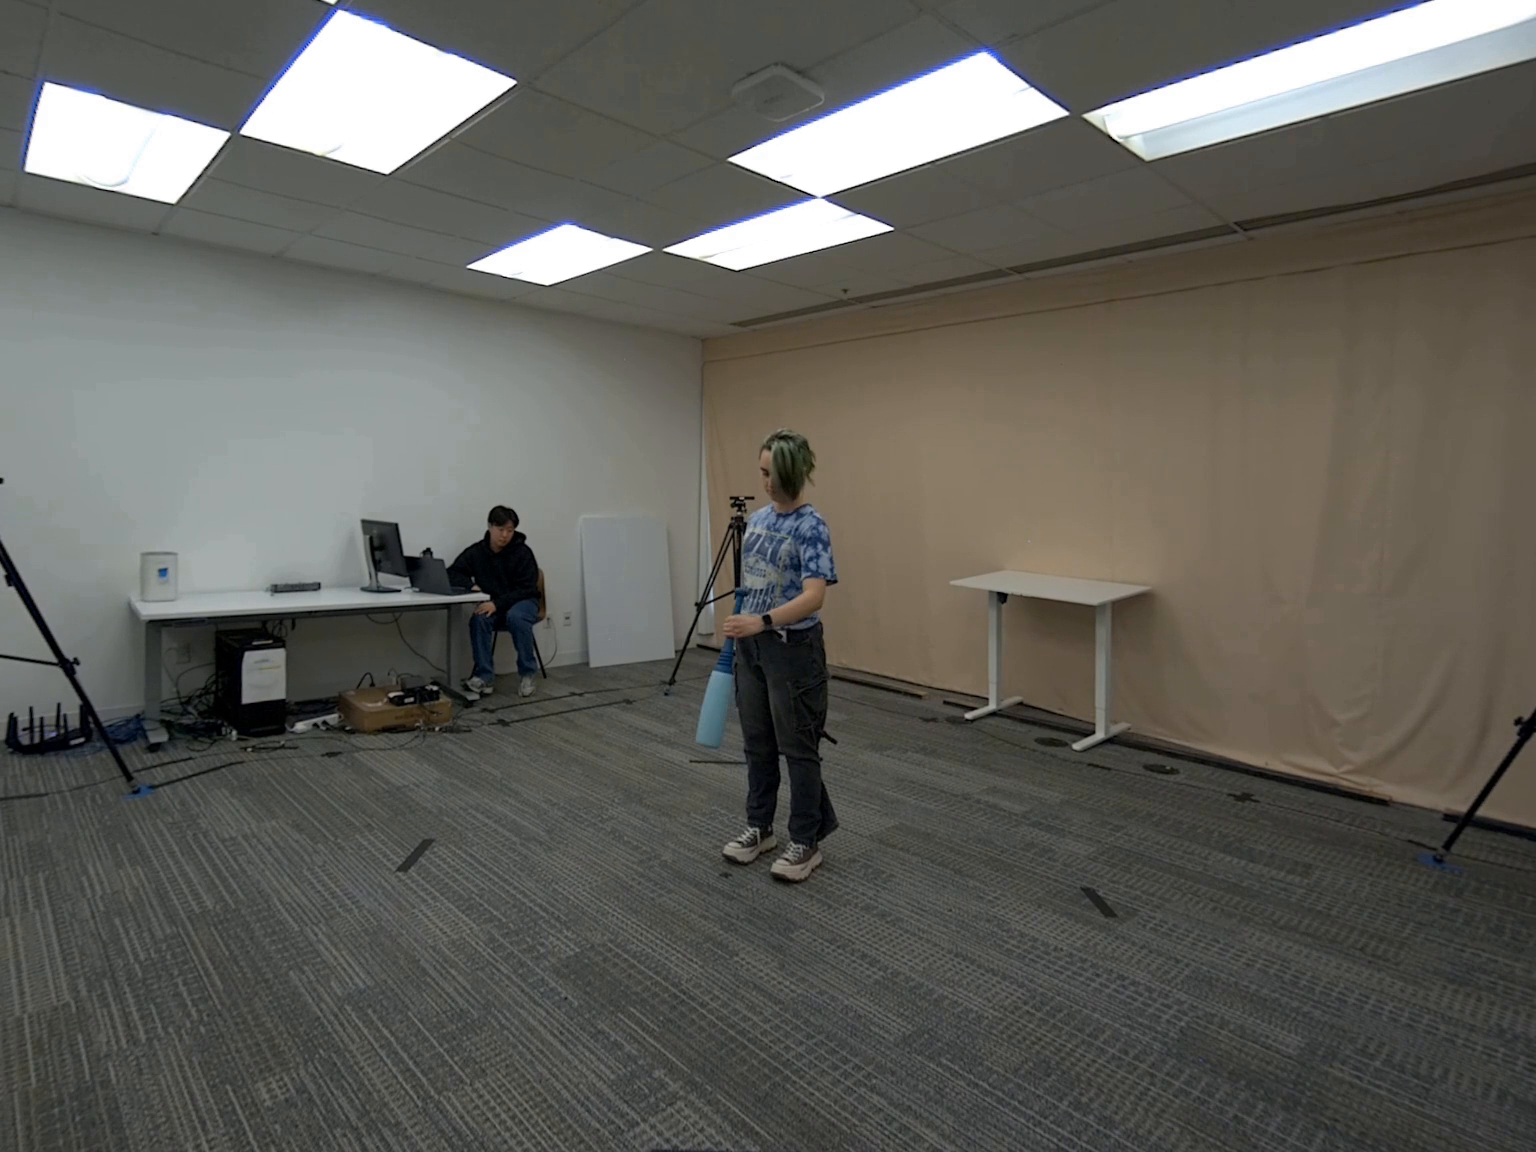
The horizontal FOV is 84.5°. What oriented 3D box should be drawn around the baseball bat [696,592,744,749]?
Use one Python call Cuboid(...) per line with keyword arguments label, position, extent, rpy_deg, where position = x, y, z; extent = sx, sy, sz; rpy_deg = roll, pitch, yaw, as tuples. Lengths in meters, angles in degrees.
Cuboid(label="baseball bat", position=(-0.141, 0.314, 2.831), extent=(0.089, 0.546, 0.088), rpy_deg=(12, -11, 1))
